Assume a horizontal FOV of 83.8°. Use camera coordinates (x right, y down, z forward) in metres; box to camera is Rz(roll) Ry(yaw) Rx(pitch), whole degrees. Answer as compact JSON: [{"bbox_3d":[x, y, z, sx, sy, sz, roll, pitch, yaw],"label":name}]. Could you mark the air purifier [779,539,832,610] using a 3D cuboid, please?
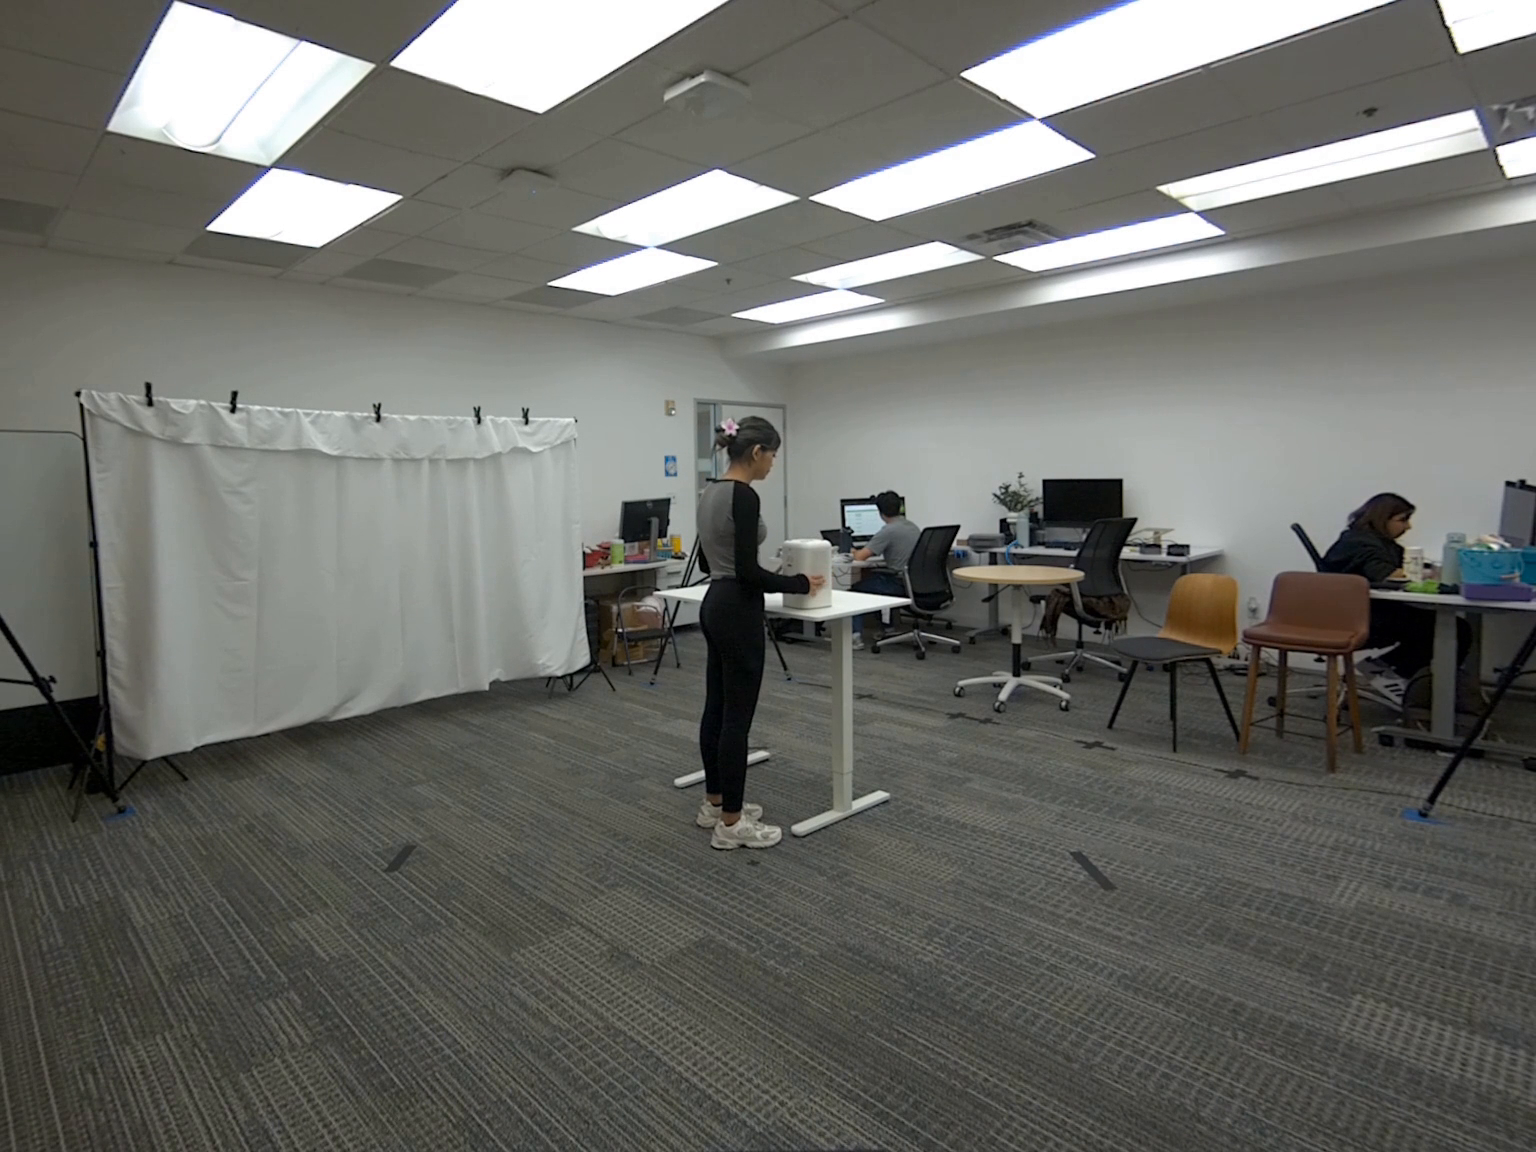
[{"bbox_3d":[0.154,-0.012,3.429,0.167,0.264,0.176,-5,8,-32],"label":"air purifier"}]
